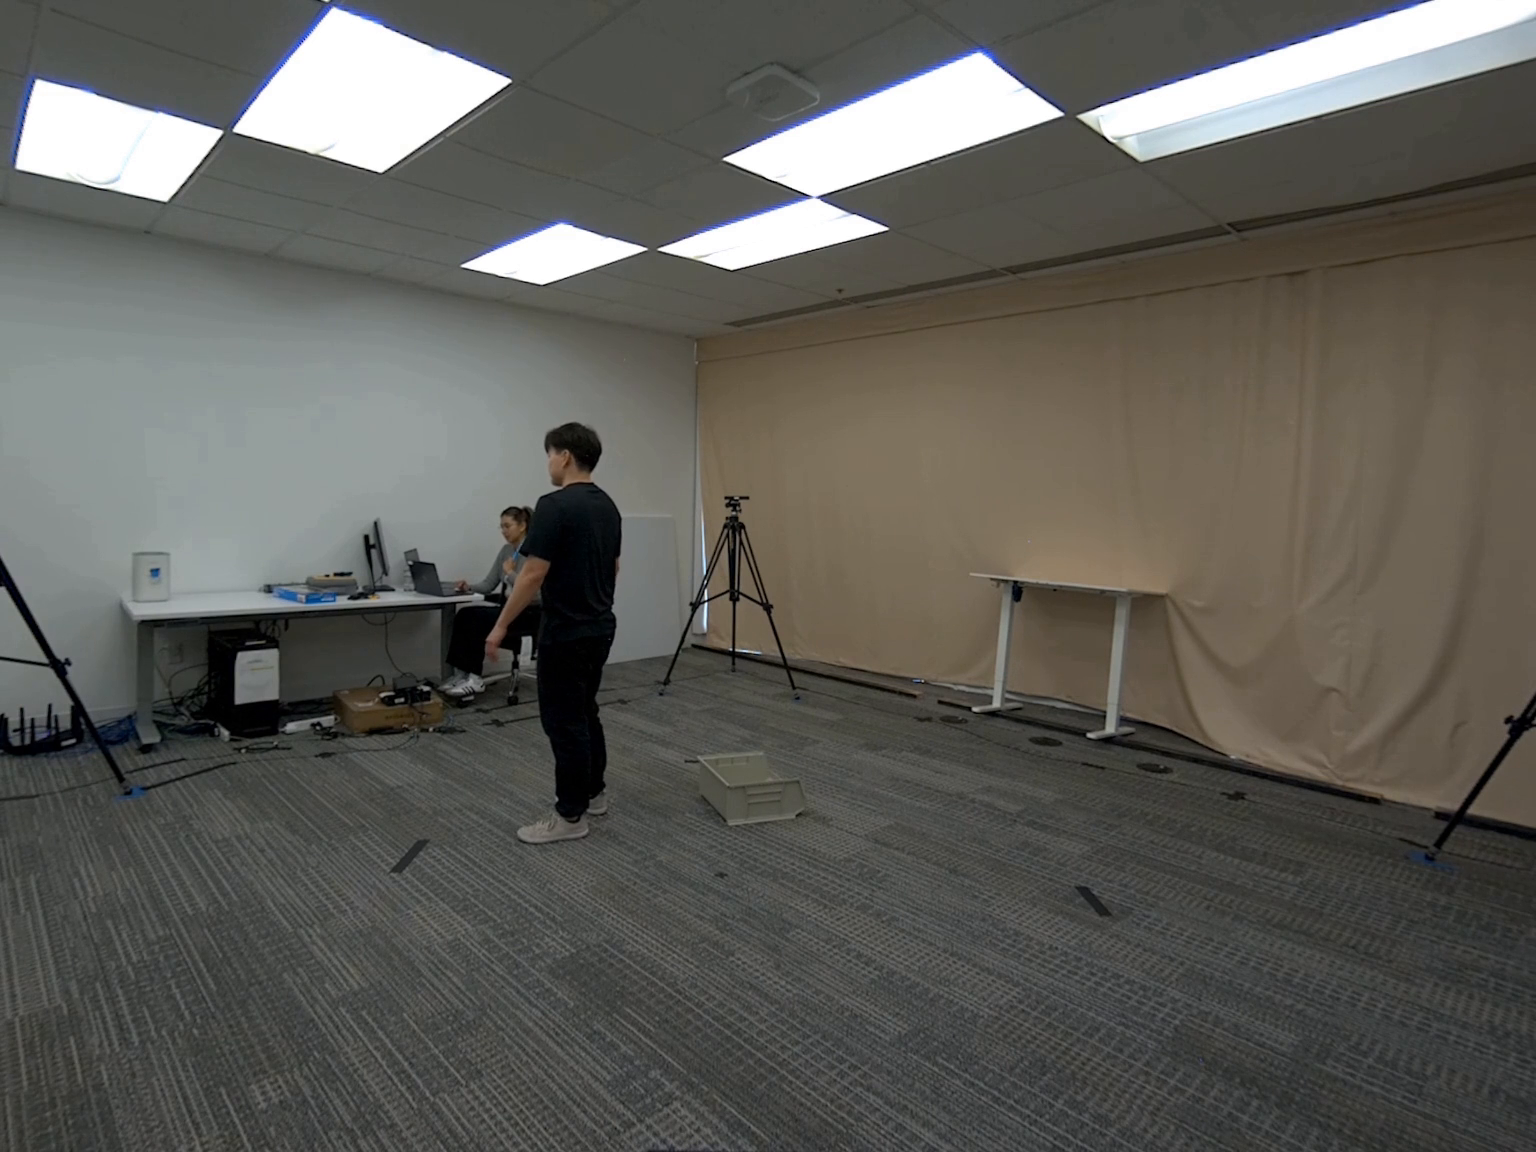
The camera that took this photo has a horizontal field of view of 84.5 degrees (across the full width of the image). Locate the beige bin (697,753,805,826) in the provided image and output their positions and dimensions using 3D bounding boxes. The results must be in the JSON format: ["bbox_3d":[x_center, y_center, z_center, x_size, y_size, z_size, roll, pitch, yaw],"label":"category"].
[{"bbox_3d":[-0.090,0.955,3.827,0.371,0.188,0.430,-2,6,-22],"label":"beige bin"}]
